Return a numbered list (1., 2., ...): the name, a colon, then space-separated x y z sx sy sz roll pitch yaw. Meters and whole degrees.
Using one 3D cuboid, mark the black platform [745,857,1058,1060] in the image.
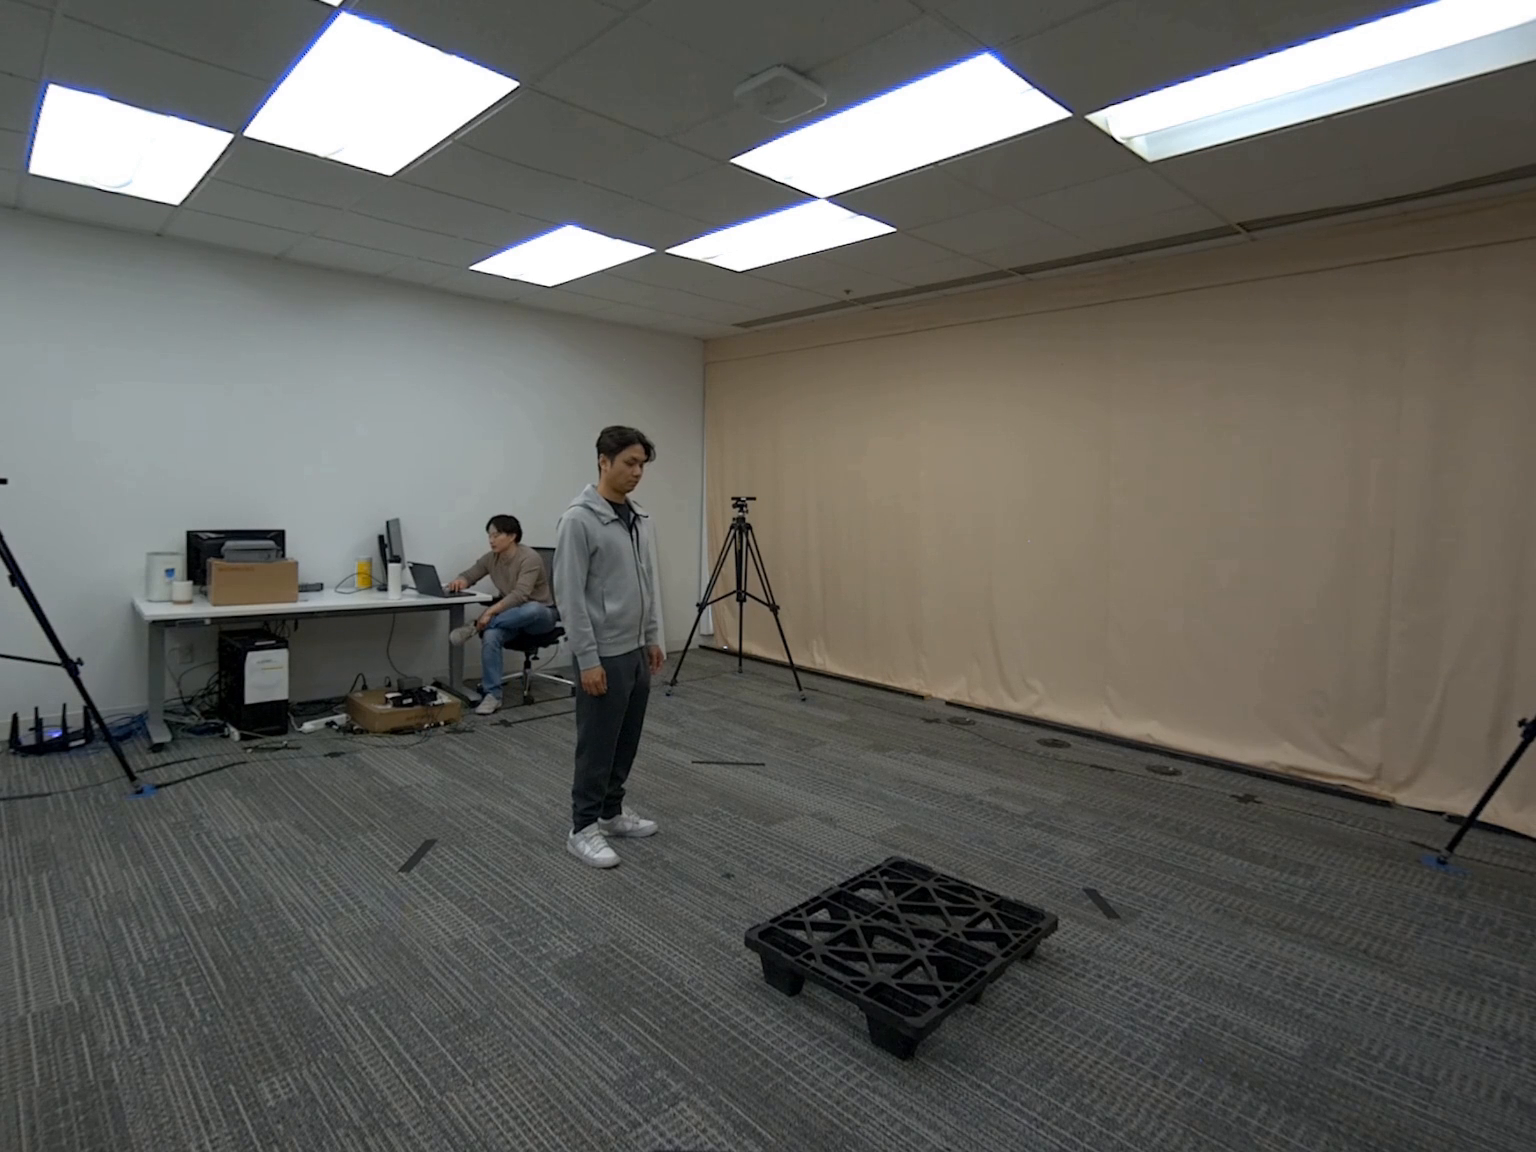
1. black platform: 0.396 1.107 2.519 0.621 0.143 0.787 6 7 43
